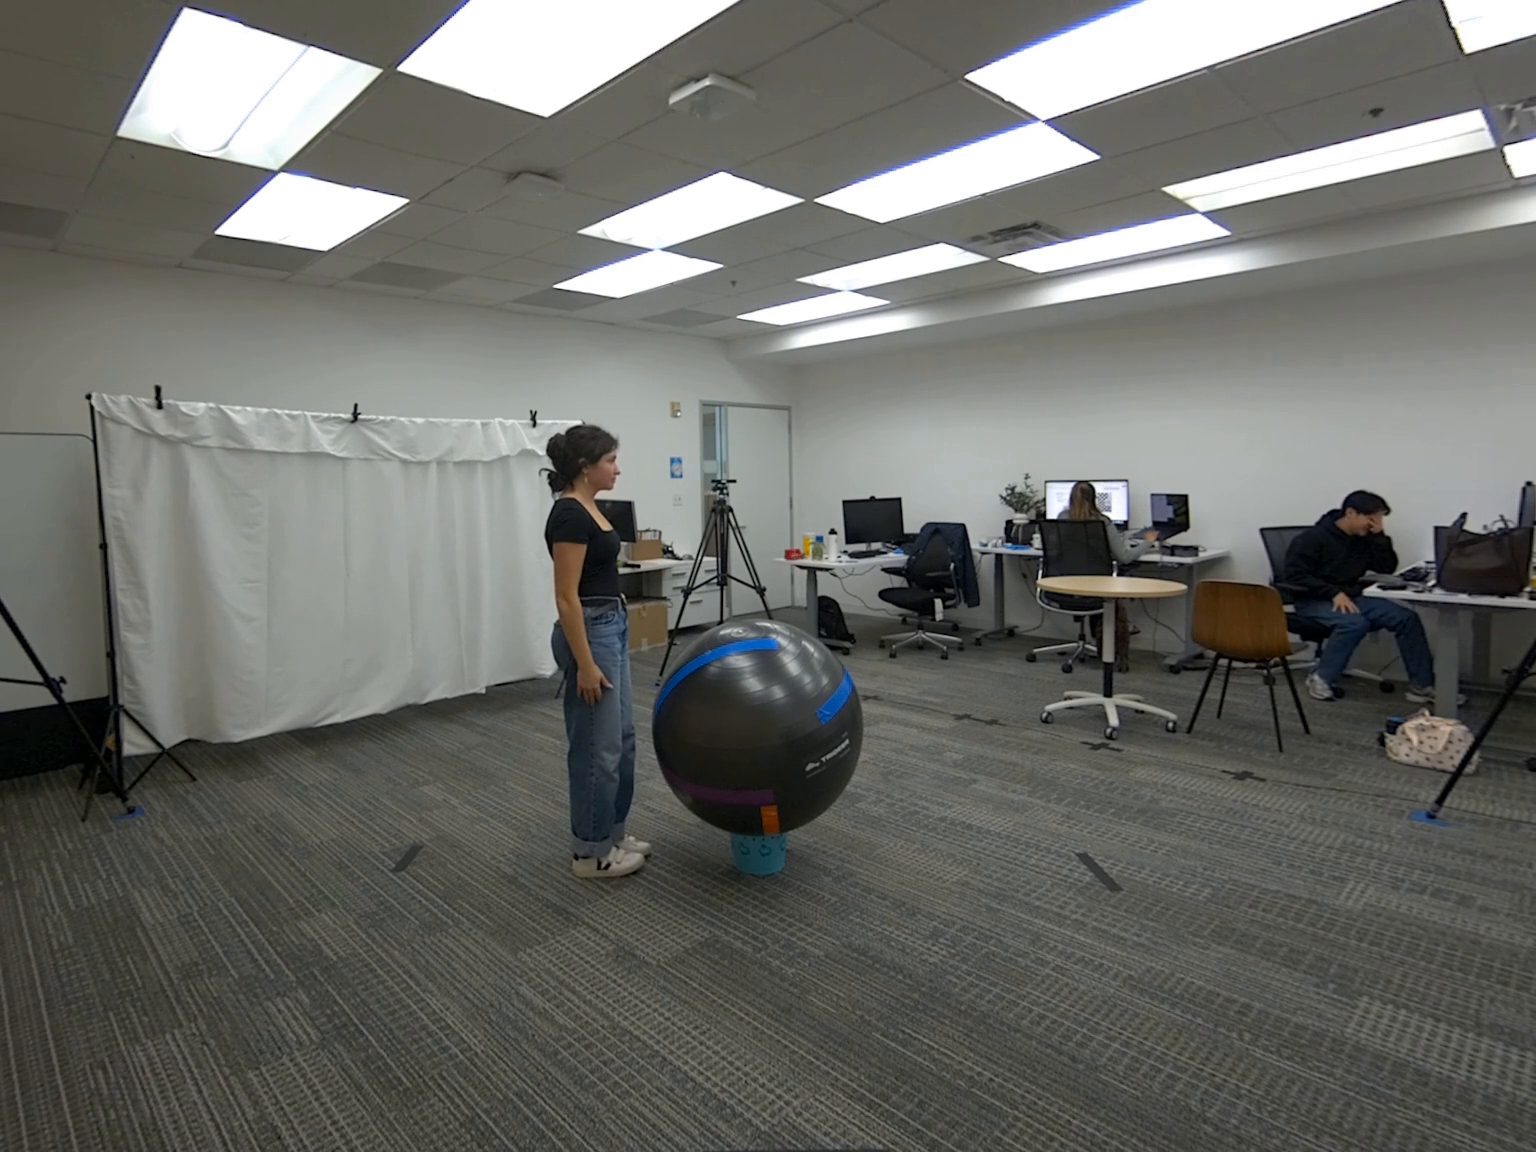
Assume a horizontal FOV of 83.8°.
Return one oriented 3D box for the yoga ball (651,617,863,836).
[{"bbox_3d":[-0.040,0.536,3.072,0.757,0.755,0.762,-1,5,-2],"label":"yoga ball"}]
